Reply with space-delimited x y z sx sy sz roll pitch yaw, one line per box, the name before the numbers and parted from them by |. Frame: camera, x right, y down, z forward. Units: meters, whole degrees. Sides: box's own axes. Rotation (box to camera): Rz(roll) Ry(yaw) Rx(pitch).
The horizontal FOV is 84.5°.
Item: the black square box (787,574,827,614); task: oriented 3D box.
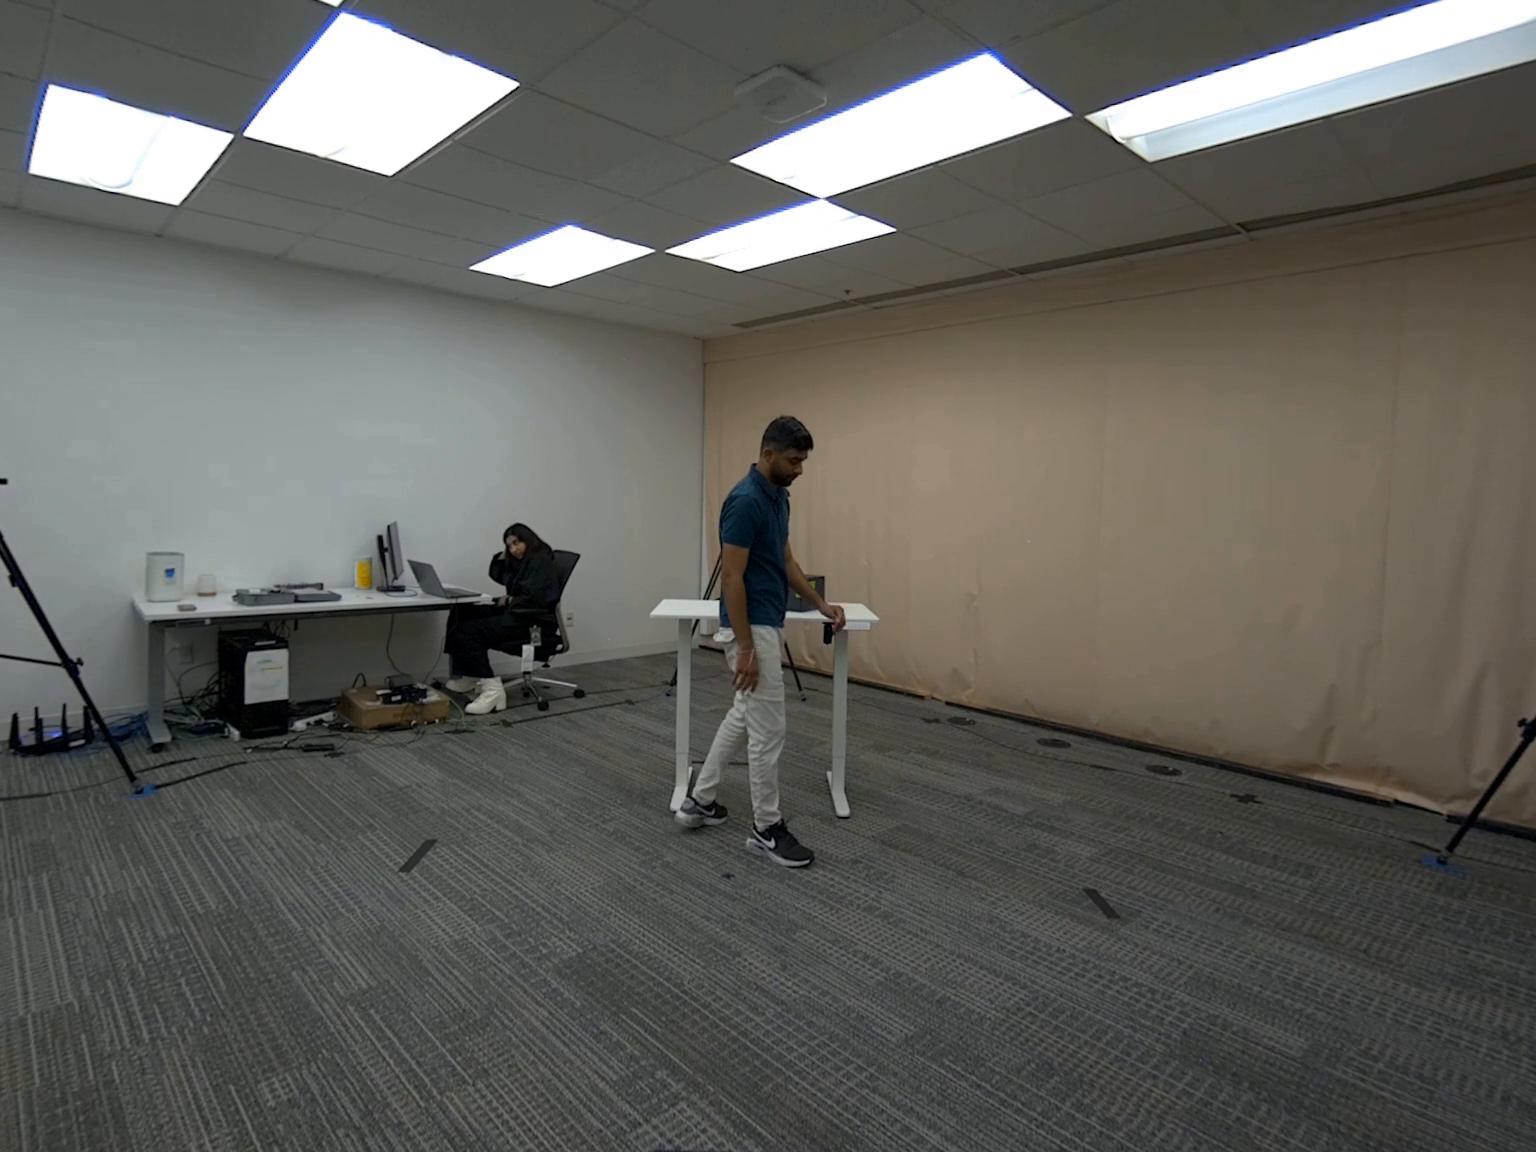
black square box | 0.122 0.076 3.987 0.222 0.155 0.223 4 4 33
